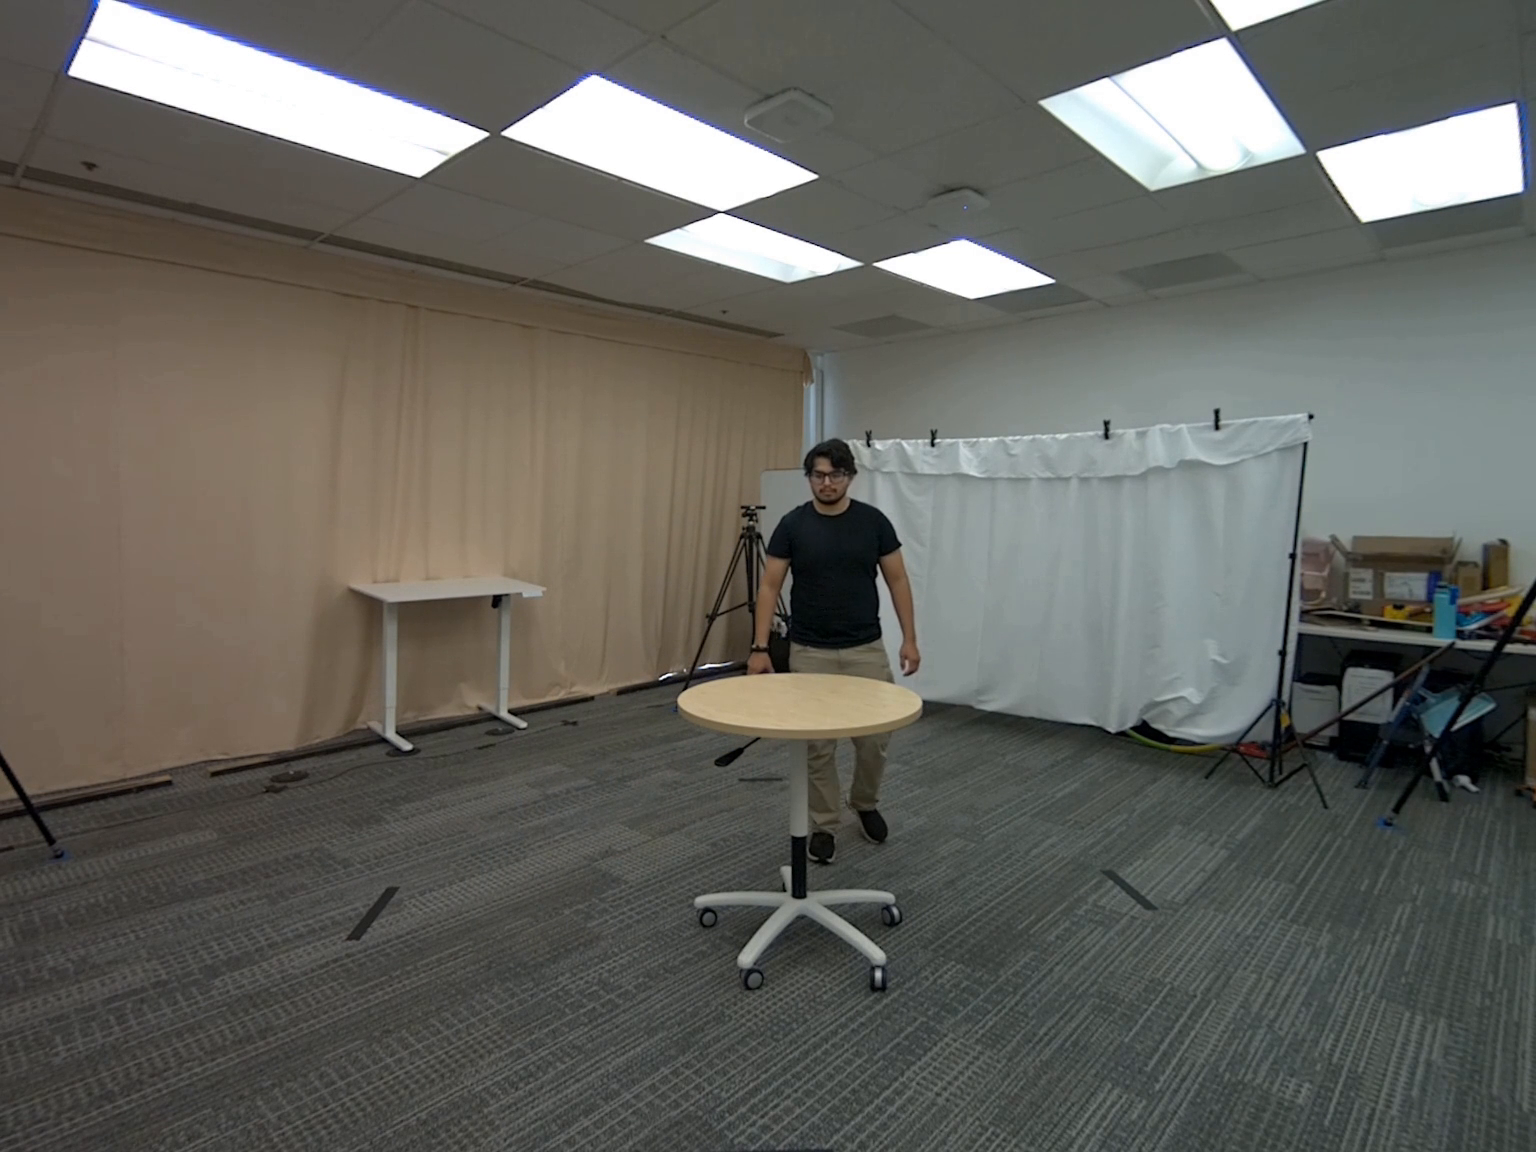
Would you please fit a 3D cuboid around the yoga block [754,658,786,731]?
[{"bbox_3d":[0.005,0.463,3.342,0.077,0.145,0.233,-14,34,8],"label":"yoga block"}]
